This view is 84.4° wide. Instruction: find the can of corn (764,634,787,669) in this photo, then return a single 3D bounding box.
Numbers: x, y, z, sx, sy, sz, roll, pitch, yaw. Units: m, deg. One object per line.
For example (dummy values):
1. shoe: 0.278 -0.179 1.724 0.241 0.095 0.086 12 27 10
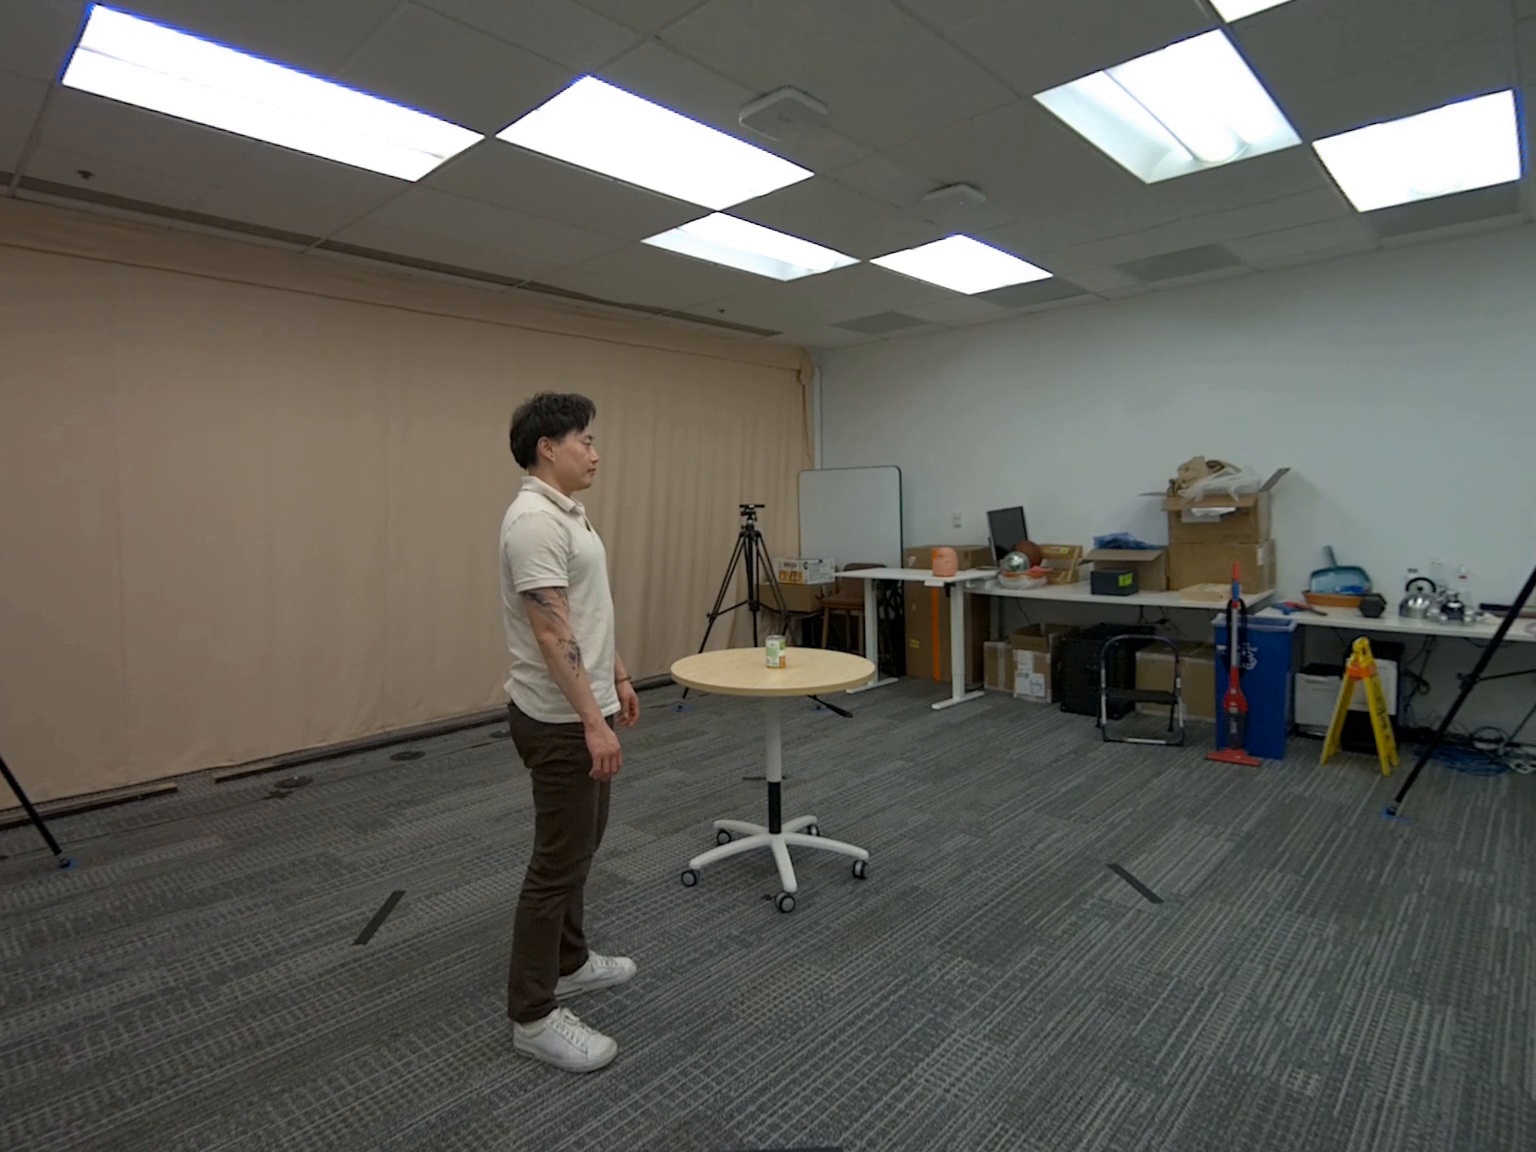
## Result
1. can of corn: 0.033 0.282 3.153 0.074 0.111 0.074 0 2 -2
